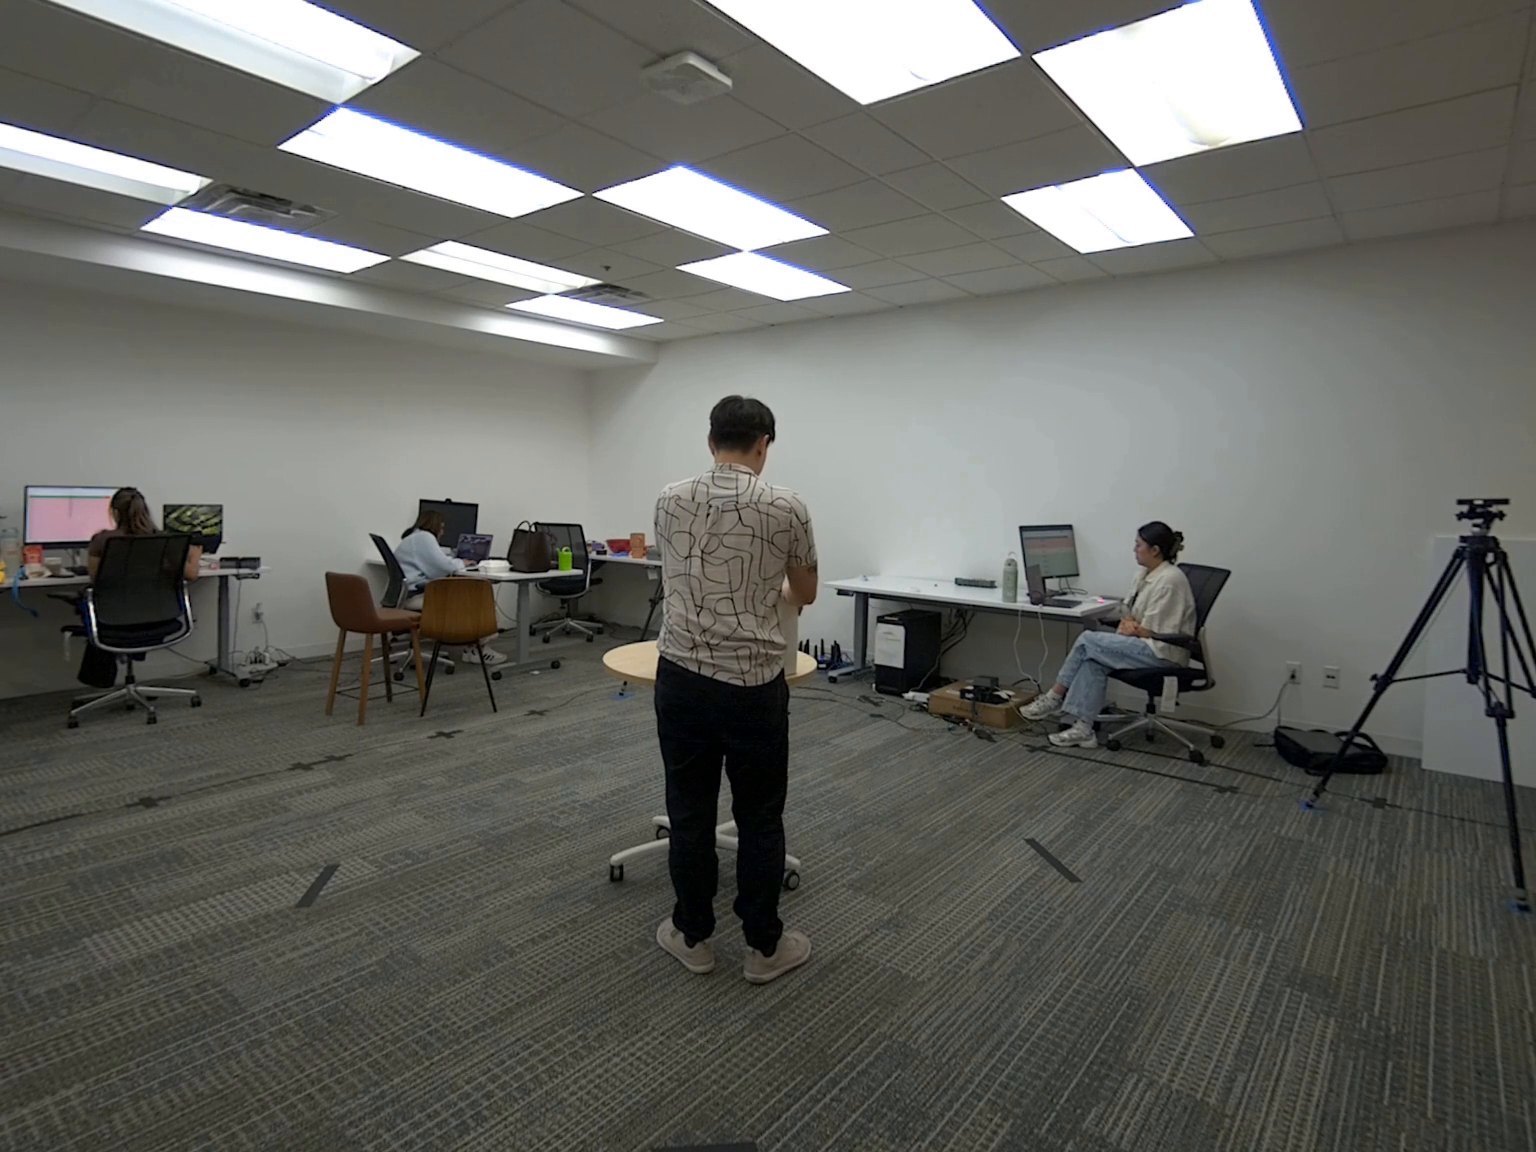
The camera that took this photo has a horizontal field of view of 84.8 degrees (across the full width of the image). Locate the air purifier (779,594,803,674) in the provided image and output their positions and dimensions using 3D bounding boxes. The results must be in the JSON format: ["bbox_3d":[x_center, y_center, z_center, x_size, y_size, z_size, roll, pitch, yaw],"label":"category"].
[{"bbox_3d":[-0.009,0.184,2.858,0.166,0.264,0.178,-2,7,-43],"label":"air purifier"}]
